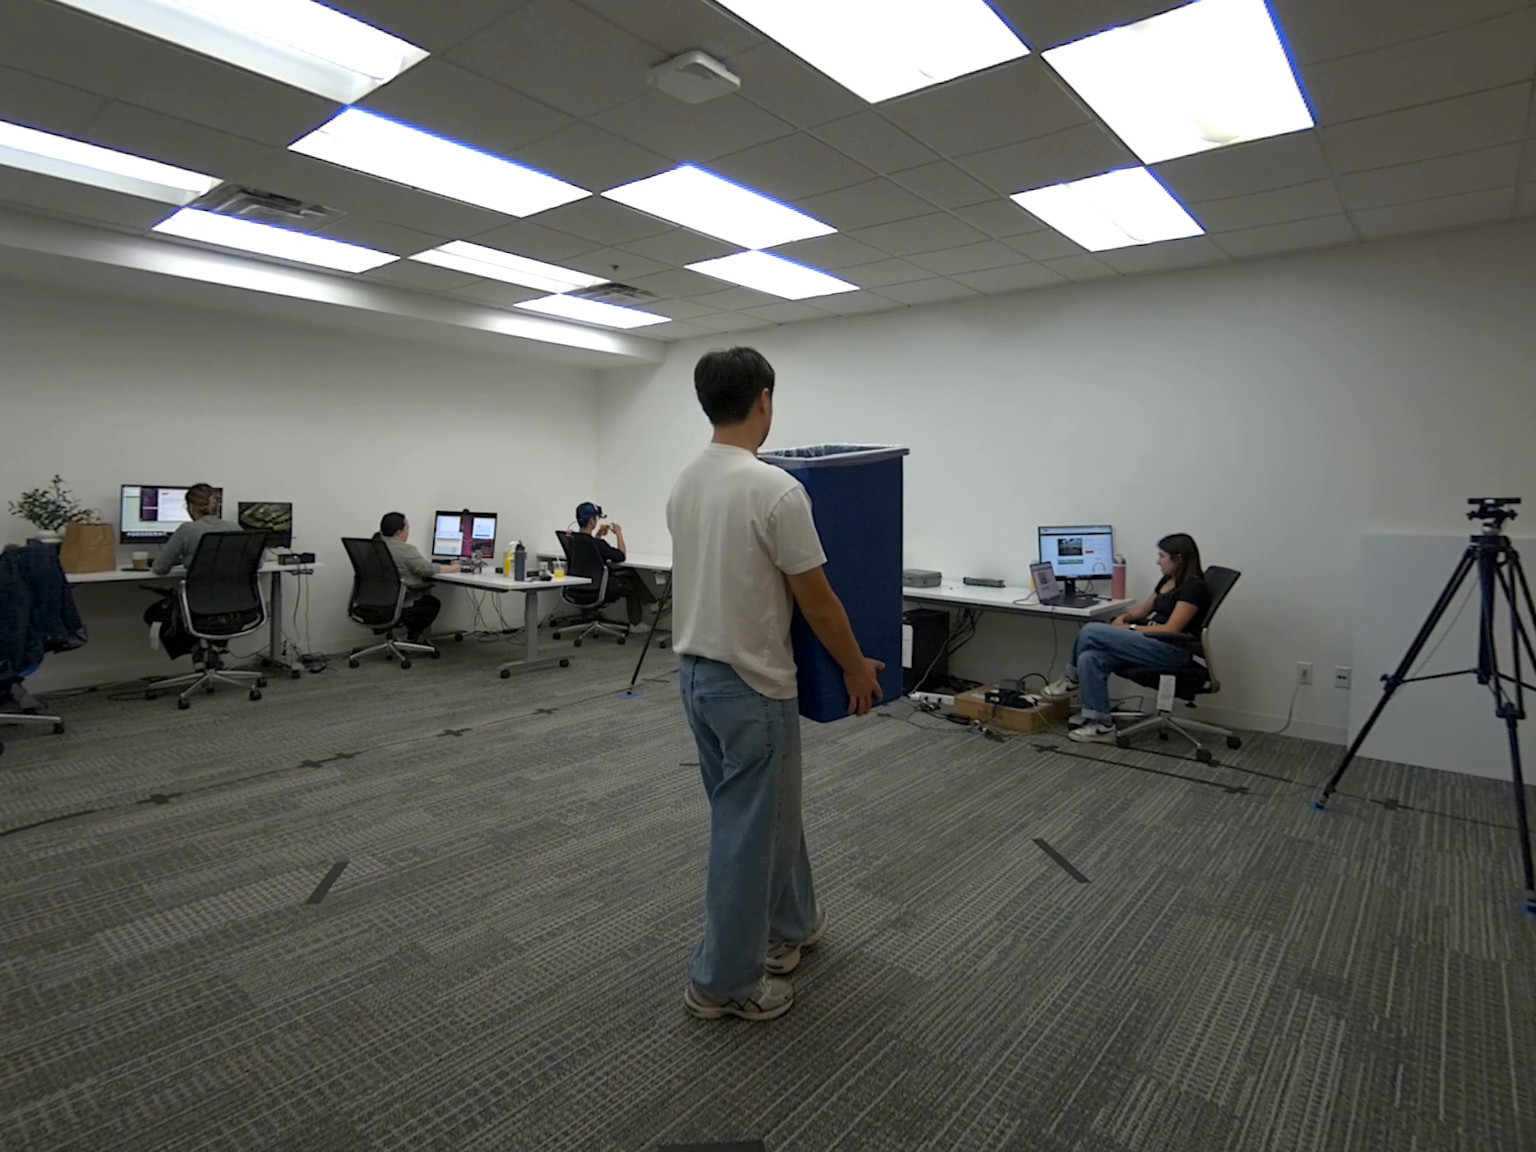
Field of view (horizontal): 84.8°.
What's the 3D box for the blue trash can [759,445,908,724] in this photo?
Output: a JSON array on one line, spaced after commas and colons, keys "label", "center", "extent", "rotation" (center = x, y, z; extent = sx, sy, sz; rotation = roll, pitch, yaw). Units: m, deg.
[{"label": "blue trash can", "center": [0.172, -0.003, 2.403], "extent": [0.369, 0.706, 0.387], "rotation": [-11, 13, -35]}]
